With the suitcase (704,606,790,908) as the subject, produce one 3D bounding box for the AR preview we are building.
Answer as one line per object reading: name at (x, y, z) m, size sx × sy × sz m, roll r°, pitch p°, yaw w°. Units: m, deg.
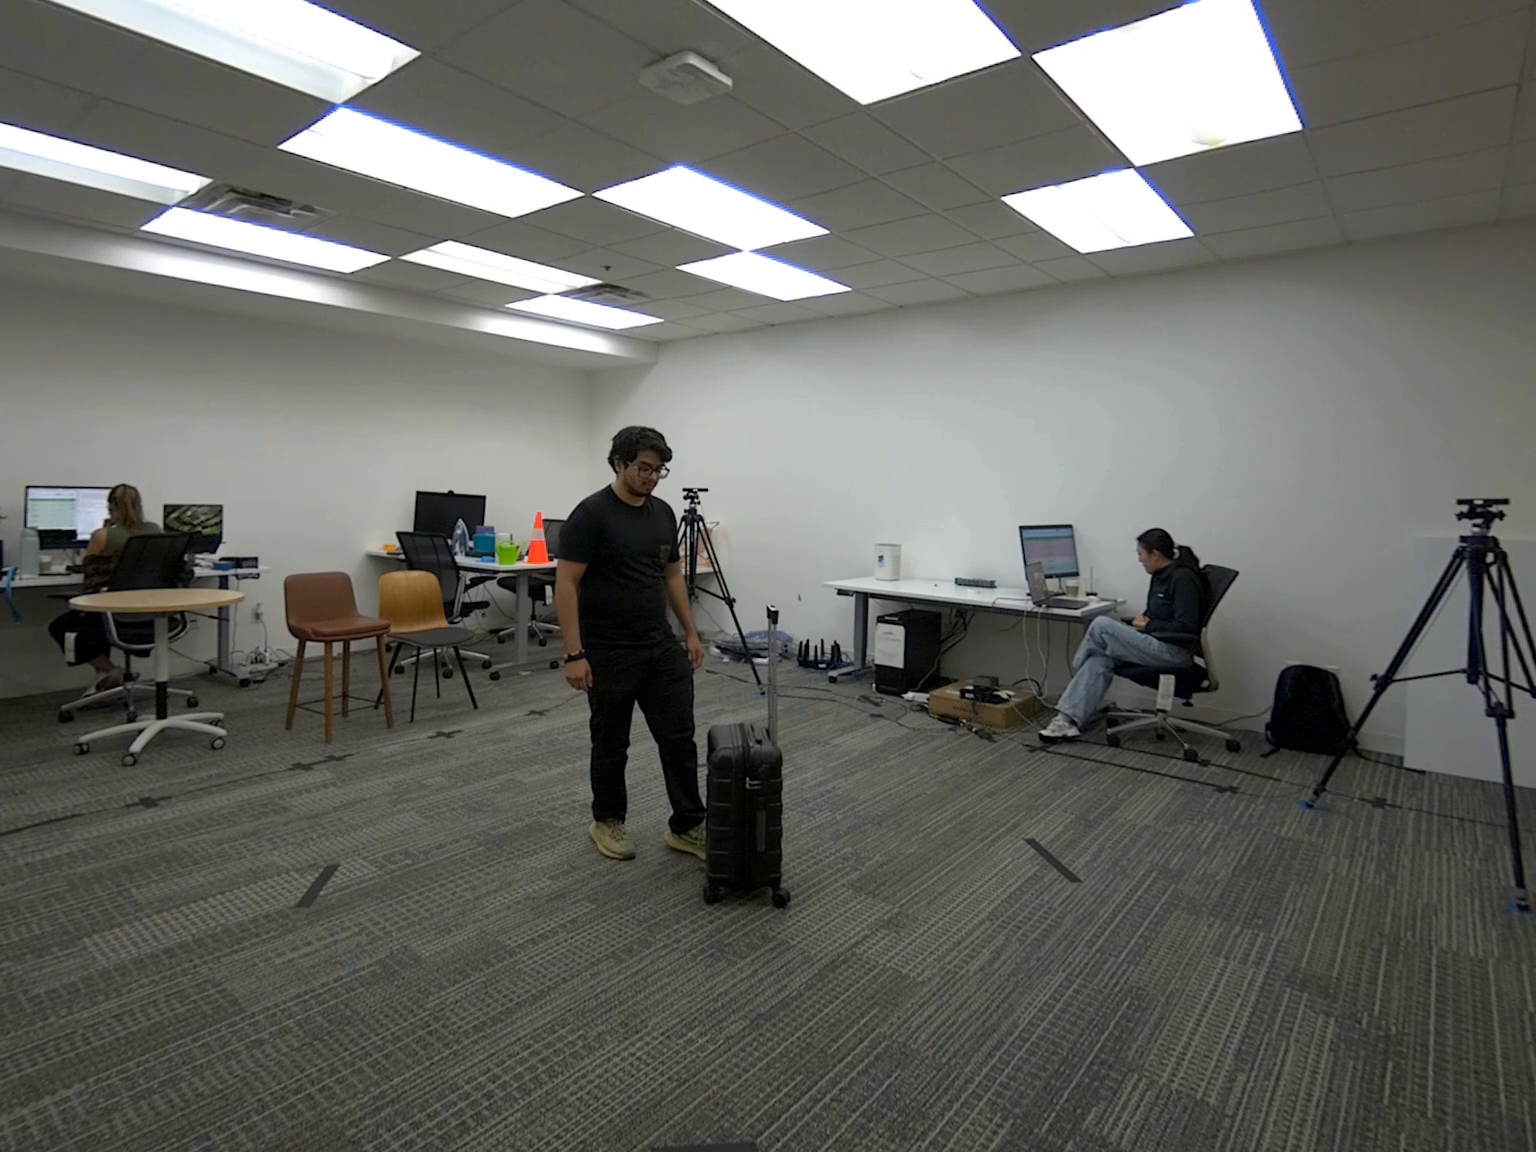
suitcase at (-0.094, 0.605, 2.966) m, size 0.256 × 0.976 × 0.387 m, roll -1°, pitch 3°, yaw -5°
